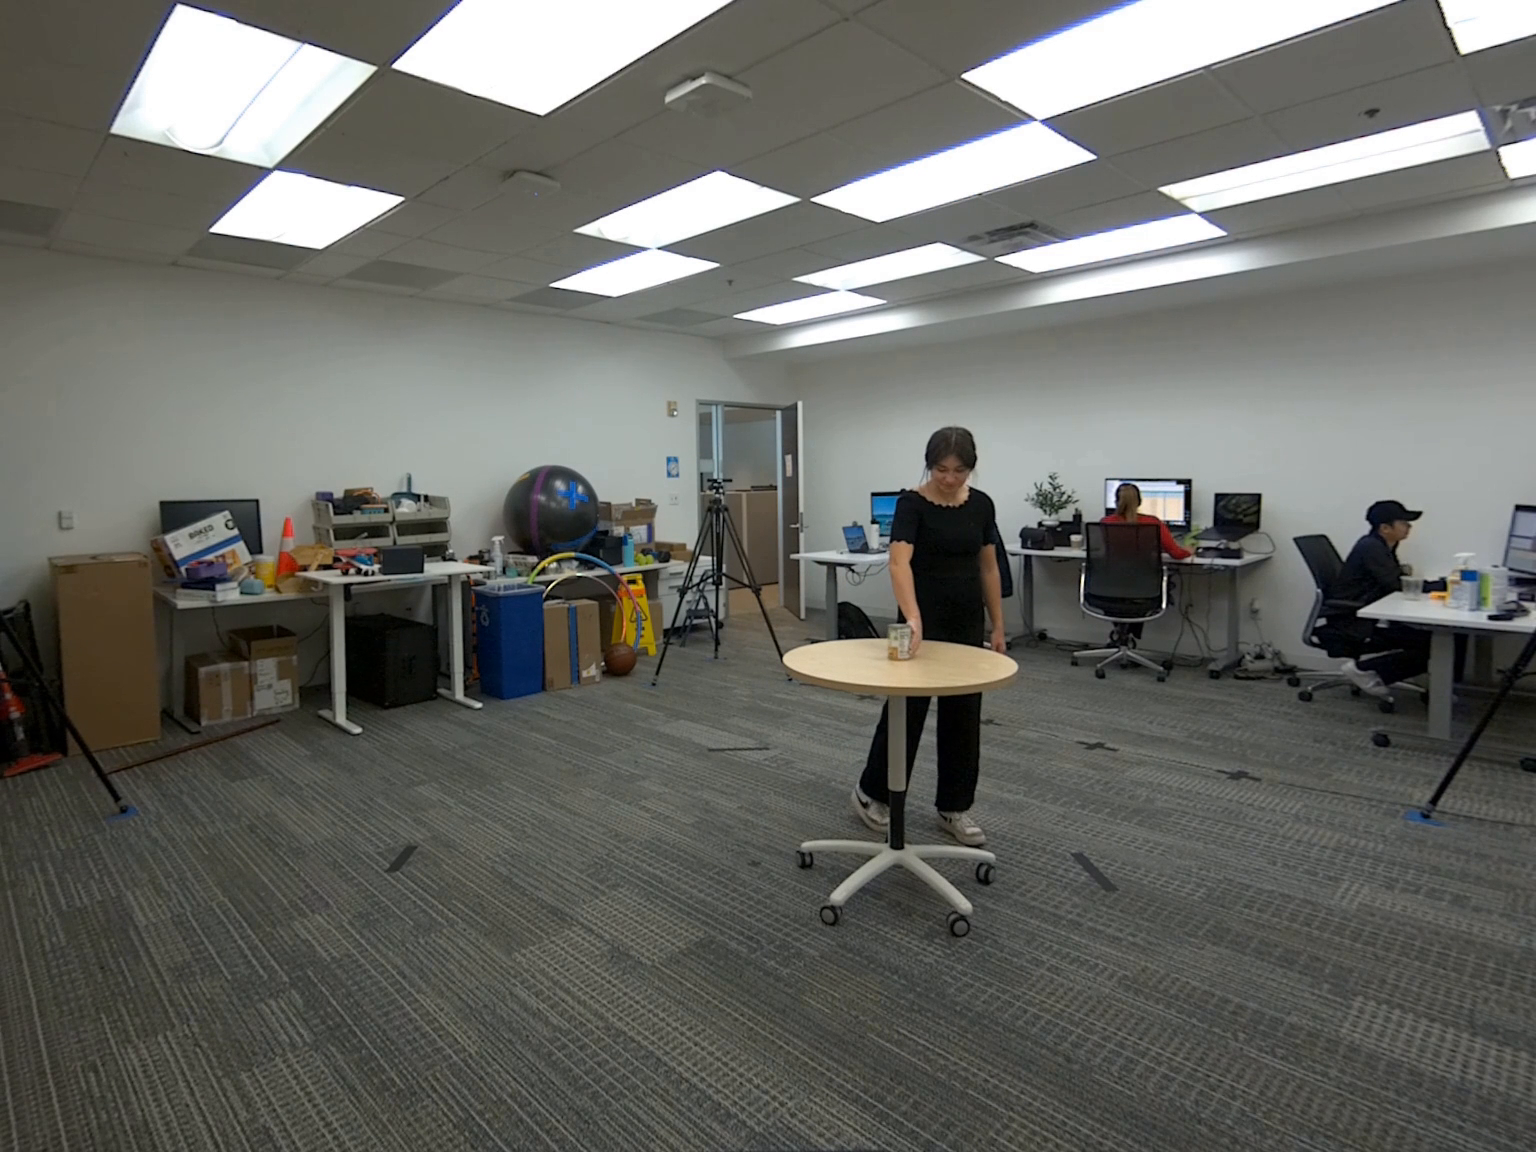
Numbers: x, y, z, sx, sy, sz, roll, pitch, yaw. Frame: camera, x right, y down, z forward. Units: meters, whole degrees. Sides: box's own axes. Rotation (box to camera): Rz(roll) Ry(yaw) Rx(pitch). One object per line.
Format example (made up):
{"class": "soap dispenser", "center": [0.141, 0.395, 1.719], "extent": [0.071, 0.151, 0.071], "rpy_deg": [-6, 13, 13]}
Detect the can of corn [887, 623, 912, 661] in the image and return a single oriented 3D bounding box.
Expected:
{"class": "can of corn", "center": [0.447, 0.222, 2.869], "extent": [0.074, 0.110, 0.075], "rpy_deg": [-2, 8, -1]}
